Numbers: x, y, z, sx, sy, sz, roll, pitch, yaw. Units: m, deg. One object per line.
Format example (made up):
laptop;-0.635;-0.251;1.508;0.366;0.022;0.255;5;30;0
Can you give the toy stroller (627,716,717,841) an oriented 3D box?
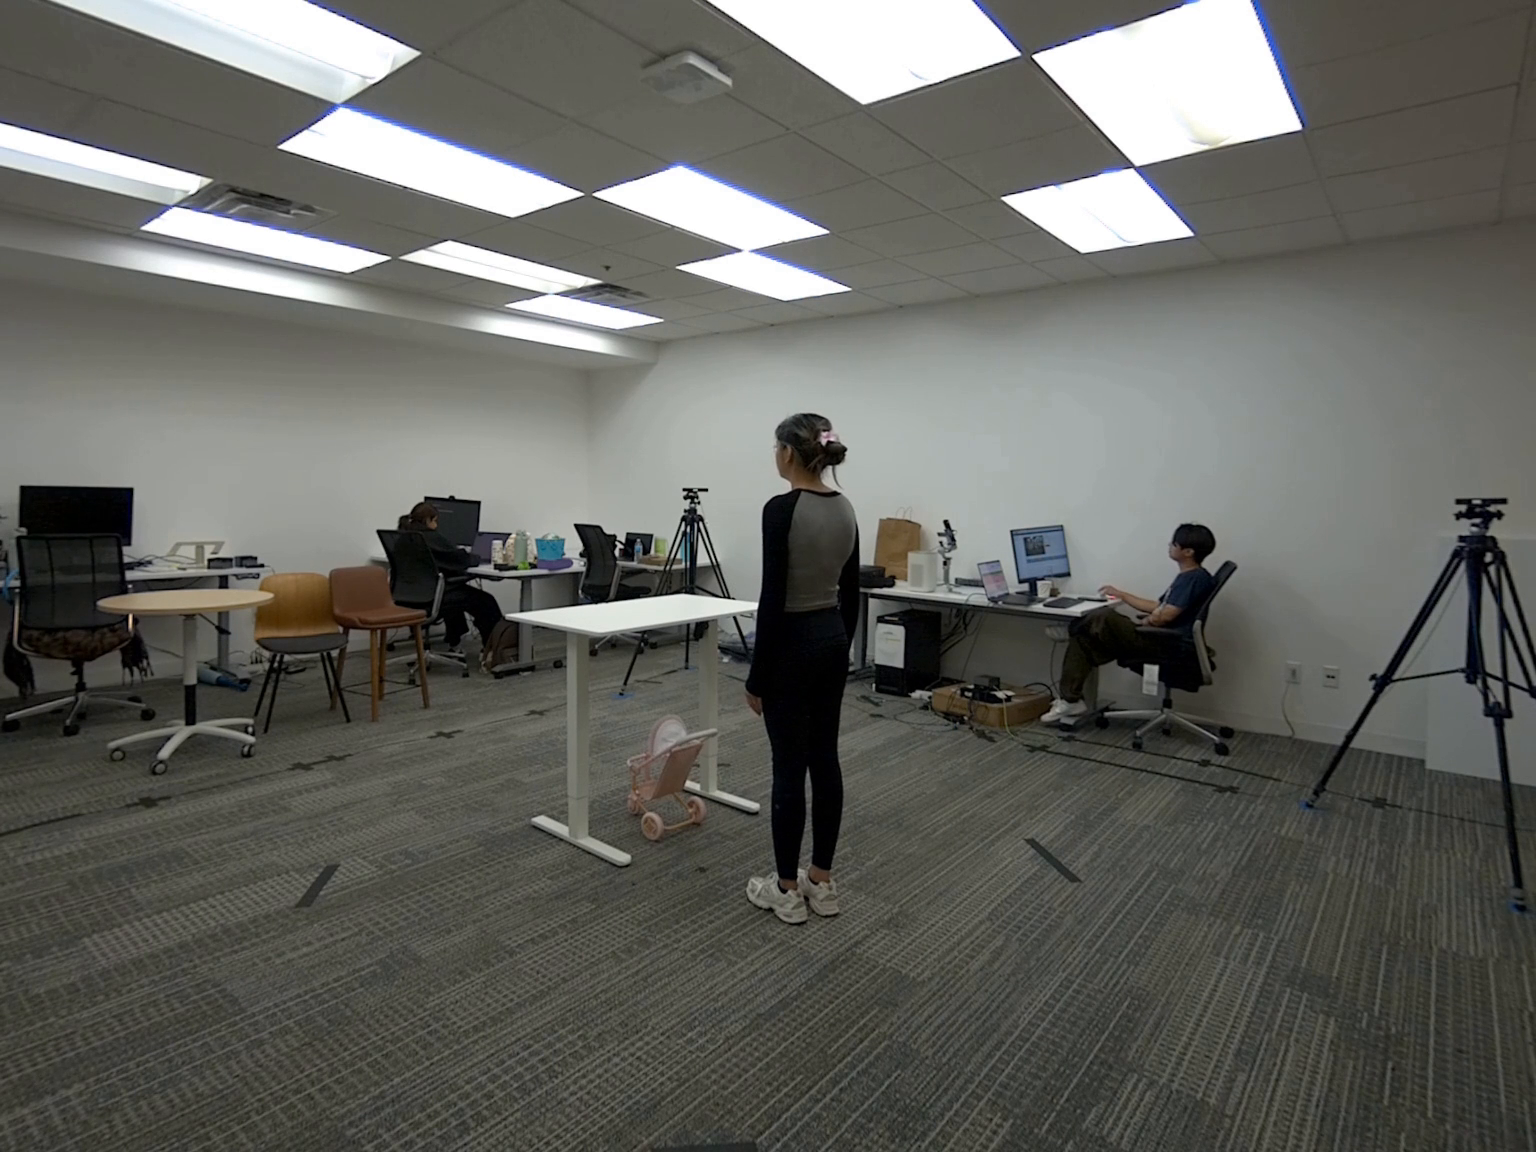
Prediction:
toy stroller;-0.432;0.804;3.492;0.273;0.530;0.355;-2;19;-45
